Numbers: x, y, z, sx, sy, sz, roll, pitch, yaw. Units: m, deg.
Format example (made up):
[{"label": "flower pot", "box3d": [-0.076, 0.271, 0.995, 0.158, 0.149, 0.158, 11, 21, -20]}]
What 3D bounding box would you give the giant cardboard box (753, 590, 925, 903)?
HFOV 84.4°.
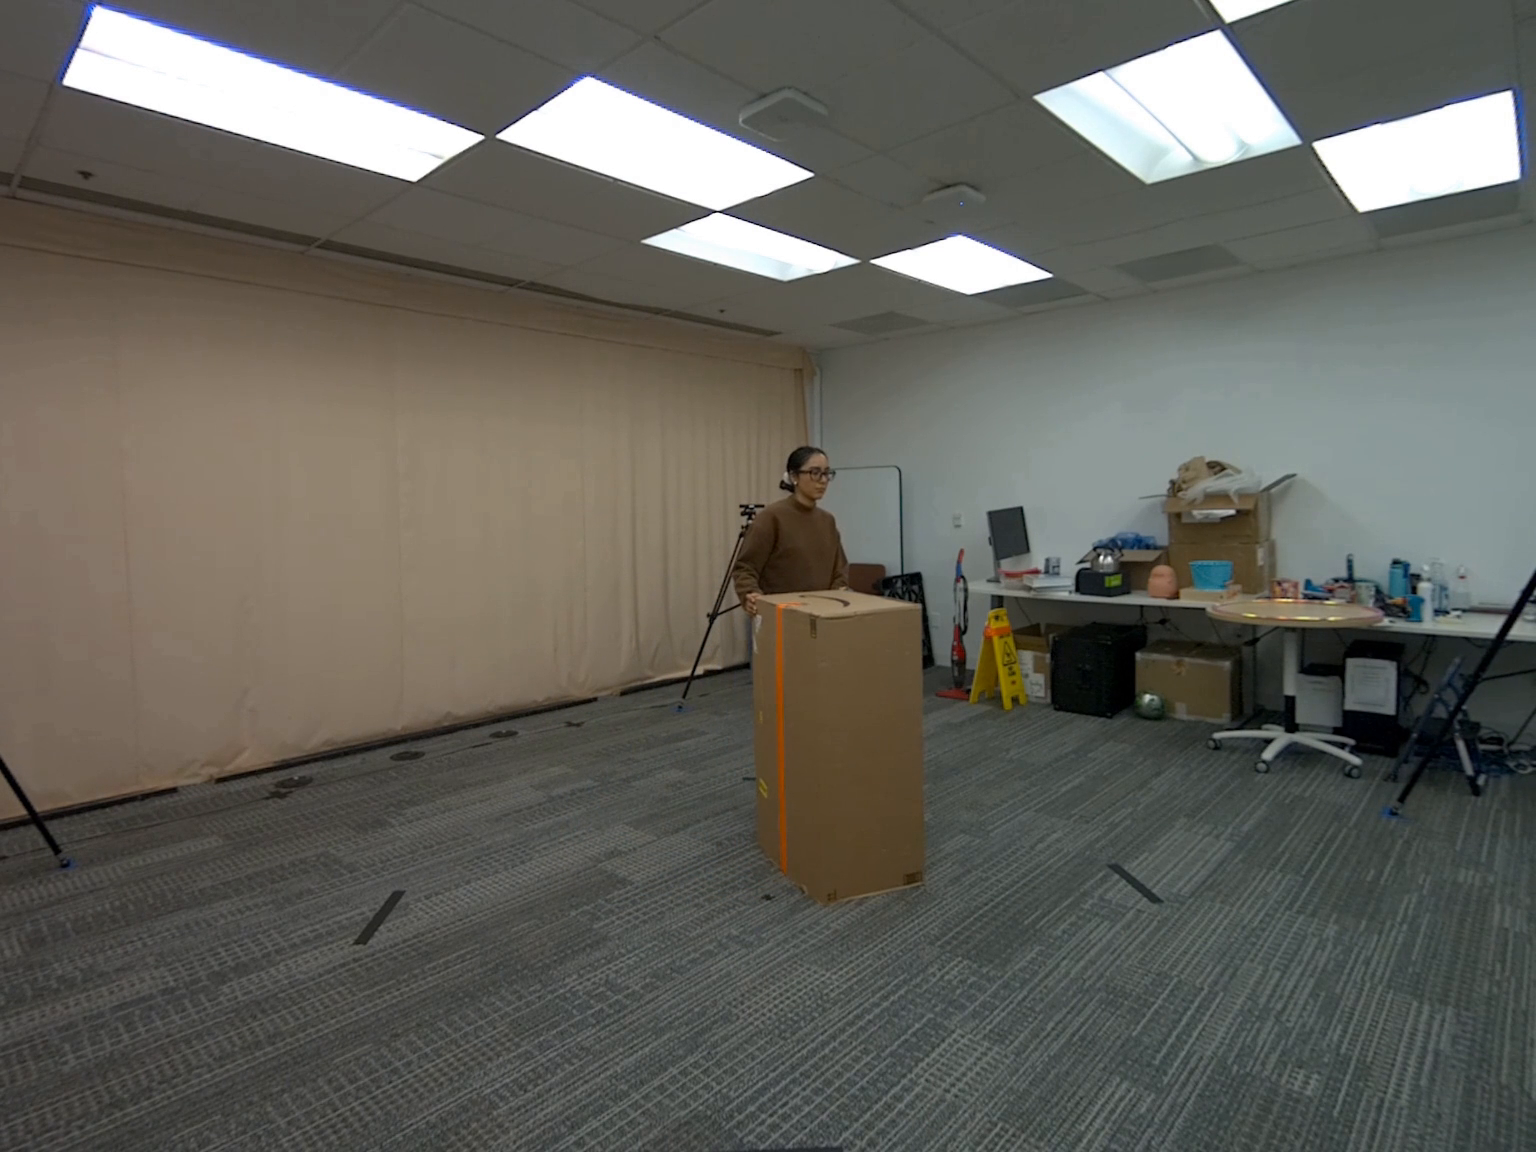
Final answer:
[{"label": "giant cardboard box", "box3d": [0.254, 0.602, 3.208, 0.417, 1.023, 0.591, -3, 5, -23]}]
